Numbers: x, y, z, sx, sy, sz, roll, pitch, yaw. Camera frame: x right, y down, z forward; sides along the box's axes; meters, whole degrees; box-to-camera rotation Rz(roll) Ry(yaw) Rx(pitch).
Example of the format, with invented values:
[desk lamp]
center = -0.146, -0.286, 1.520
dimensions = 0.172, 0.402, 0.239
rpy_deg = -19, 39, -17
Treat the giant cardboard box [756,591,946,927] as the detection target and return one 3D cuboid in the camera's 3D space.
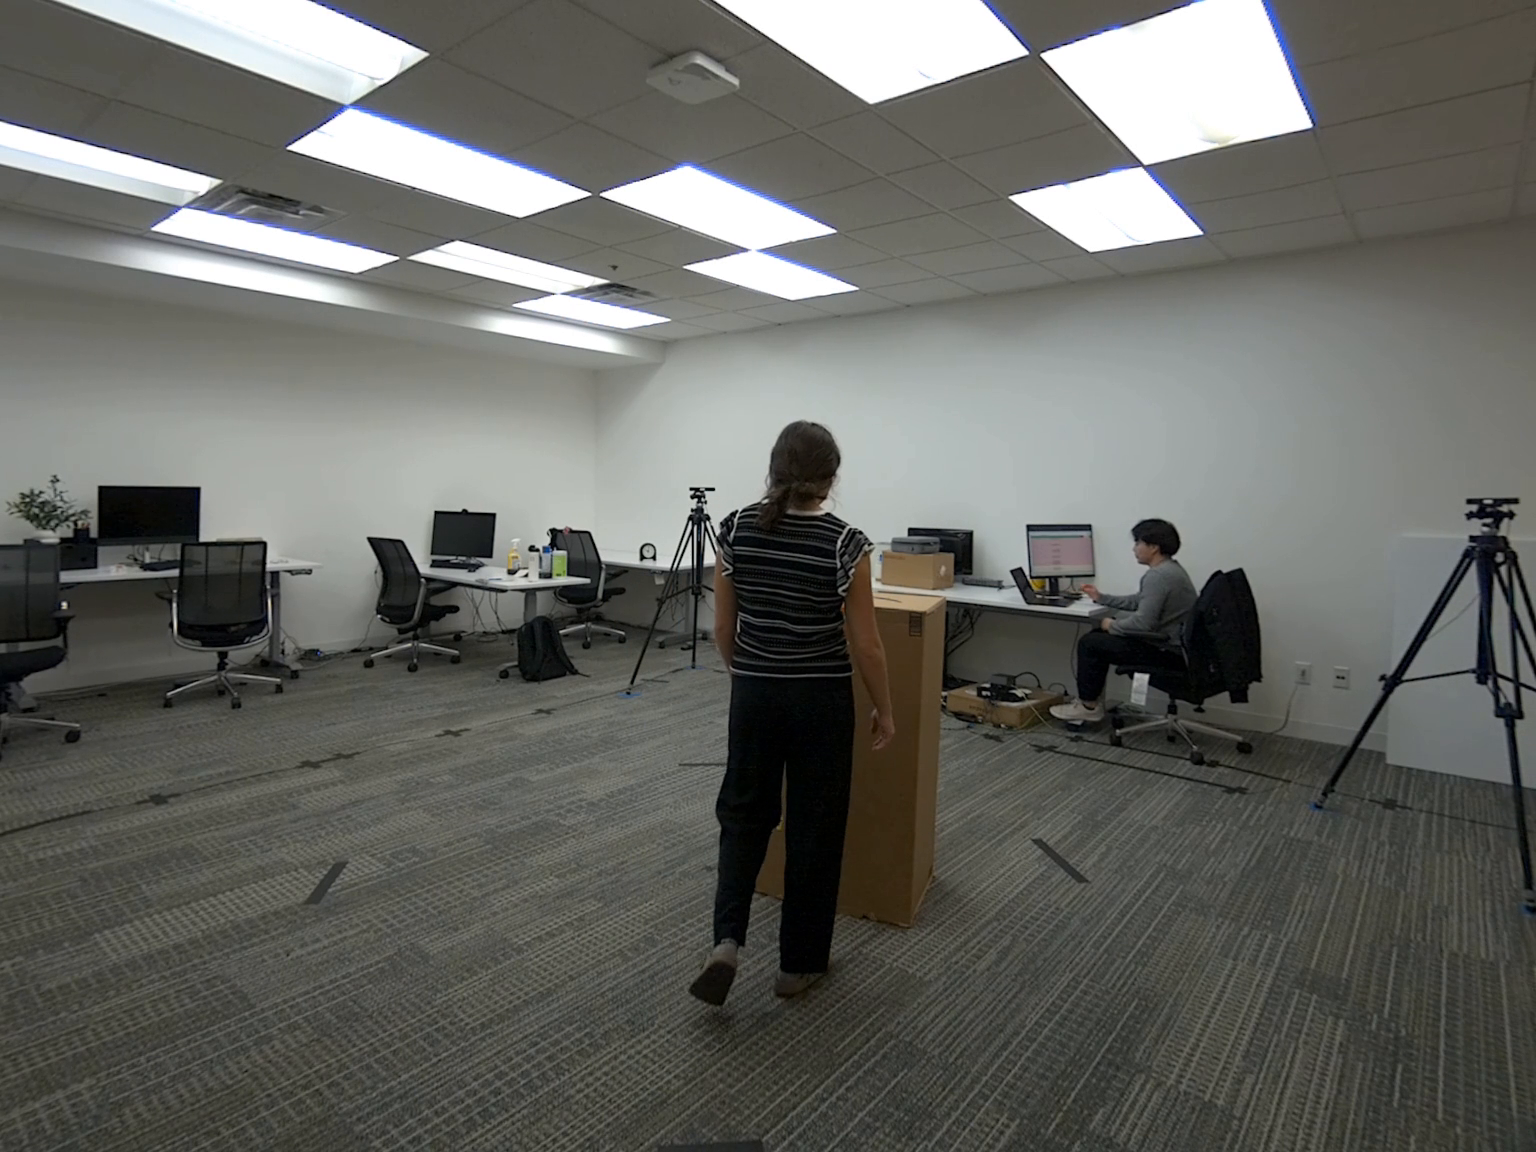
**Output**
[giant cardboard box]
center = 0.277, 0.581, 2.992
dimensions = 0.592, 1.023, 0.417
rpy_deg = 3, 4, 24
